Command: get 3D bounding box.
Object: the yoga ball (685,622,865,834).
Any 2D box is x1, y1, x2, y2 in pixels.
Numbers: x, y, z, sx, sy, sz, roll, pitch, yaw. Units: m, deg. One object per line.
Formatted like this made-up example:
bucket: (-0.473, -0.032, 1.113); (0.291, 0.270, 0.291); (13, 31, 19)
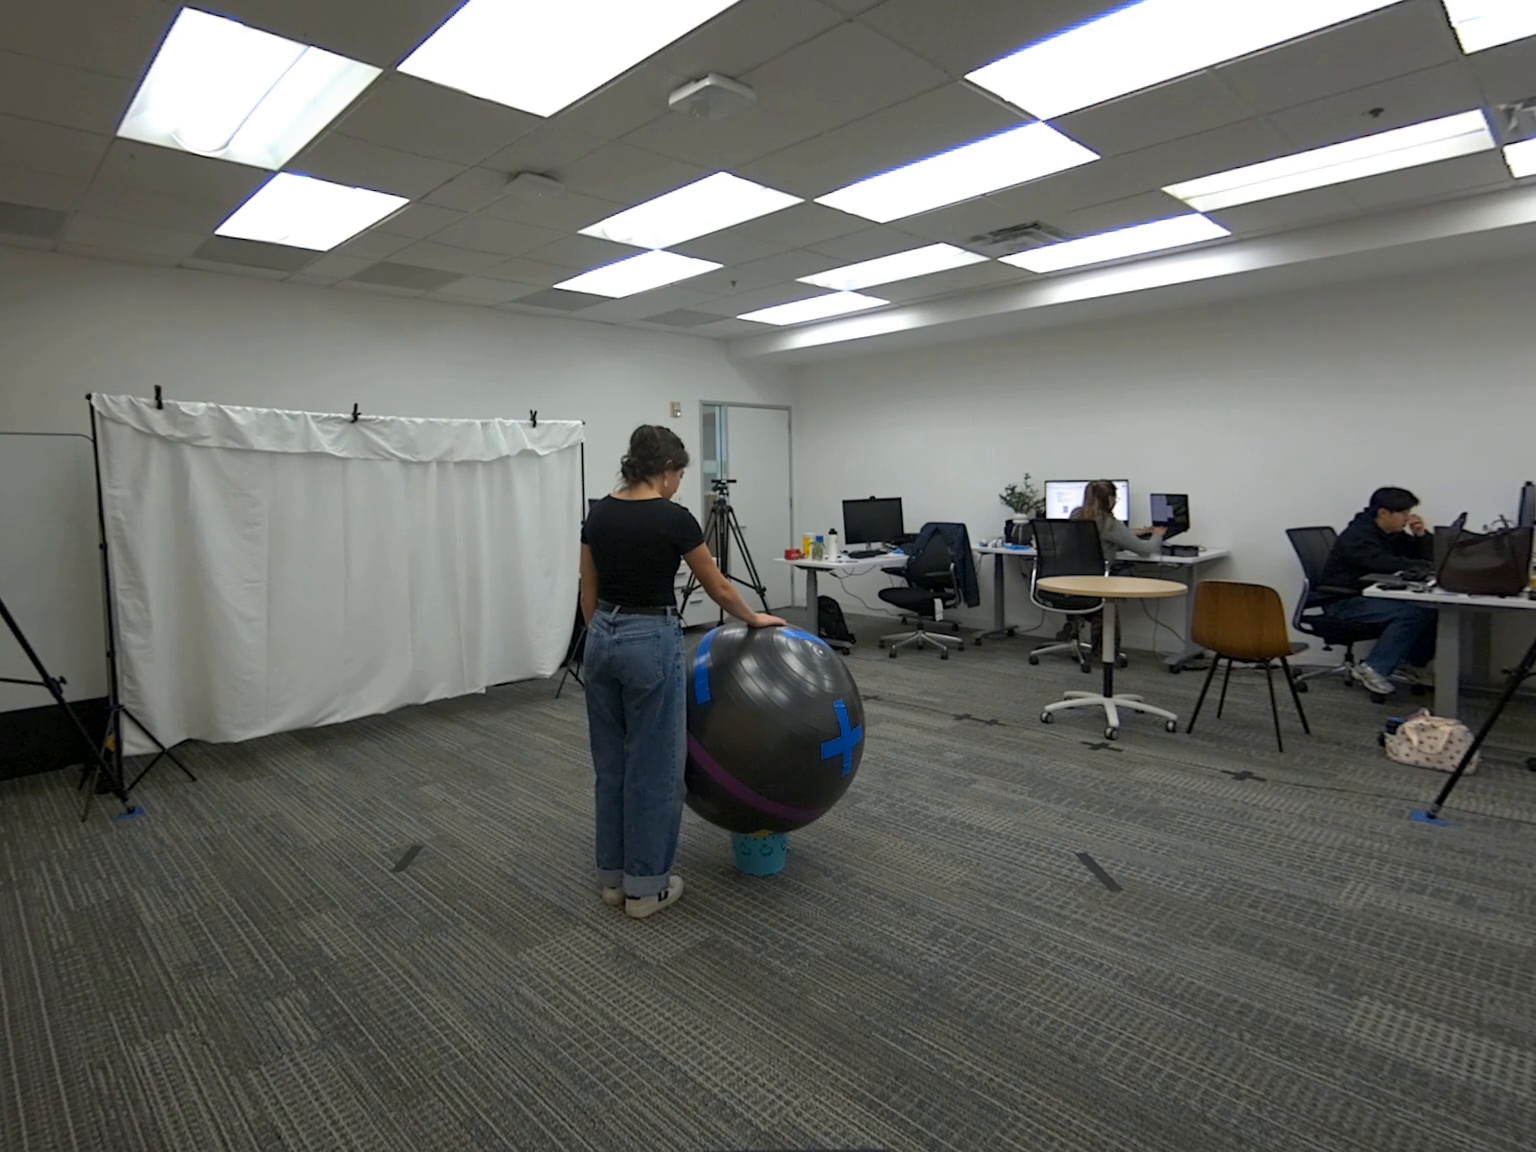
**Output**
yoga ball: (-0.029, 0.538, 3.084); (0.757, 0.755, 0.762); (-1, 5, -2)
